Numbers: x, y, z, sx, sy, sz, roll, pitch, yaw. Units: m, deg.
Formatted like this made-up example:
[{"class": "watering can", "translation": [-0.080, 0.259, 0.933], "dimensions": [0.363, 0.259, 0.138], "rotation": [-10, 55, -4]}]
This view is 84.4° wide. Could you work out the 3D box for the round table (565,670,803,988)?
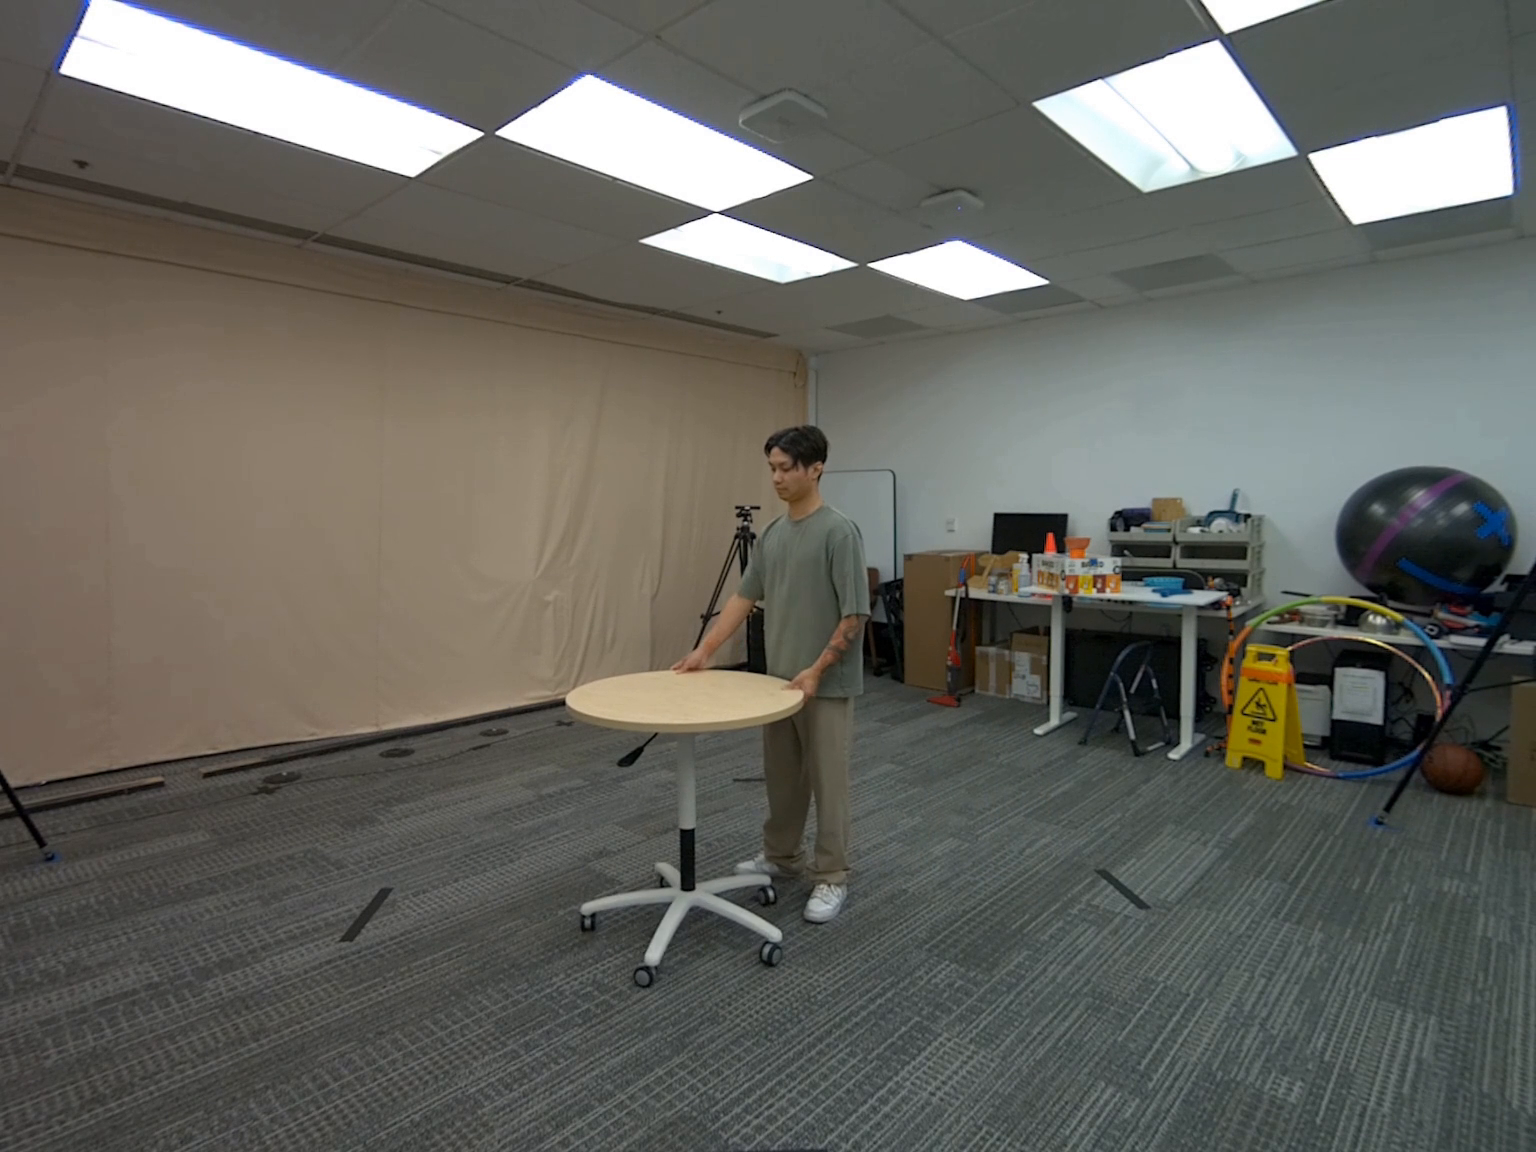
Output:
[{"class": "round table", "translation": [-0.254, 0.771, 2.746], "dimensions": [0.784, 0.784, 0.788], "rotation": [-1, 4, -2]}]
